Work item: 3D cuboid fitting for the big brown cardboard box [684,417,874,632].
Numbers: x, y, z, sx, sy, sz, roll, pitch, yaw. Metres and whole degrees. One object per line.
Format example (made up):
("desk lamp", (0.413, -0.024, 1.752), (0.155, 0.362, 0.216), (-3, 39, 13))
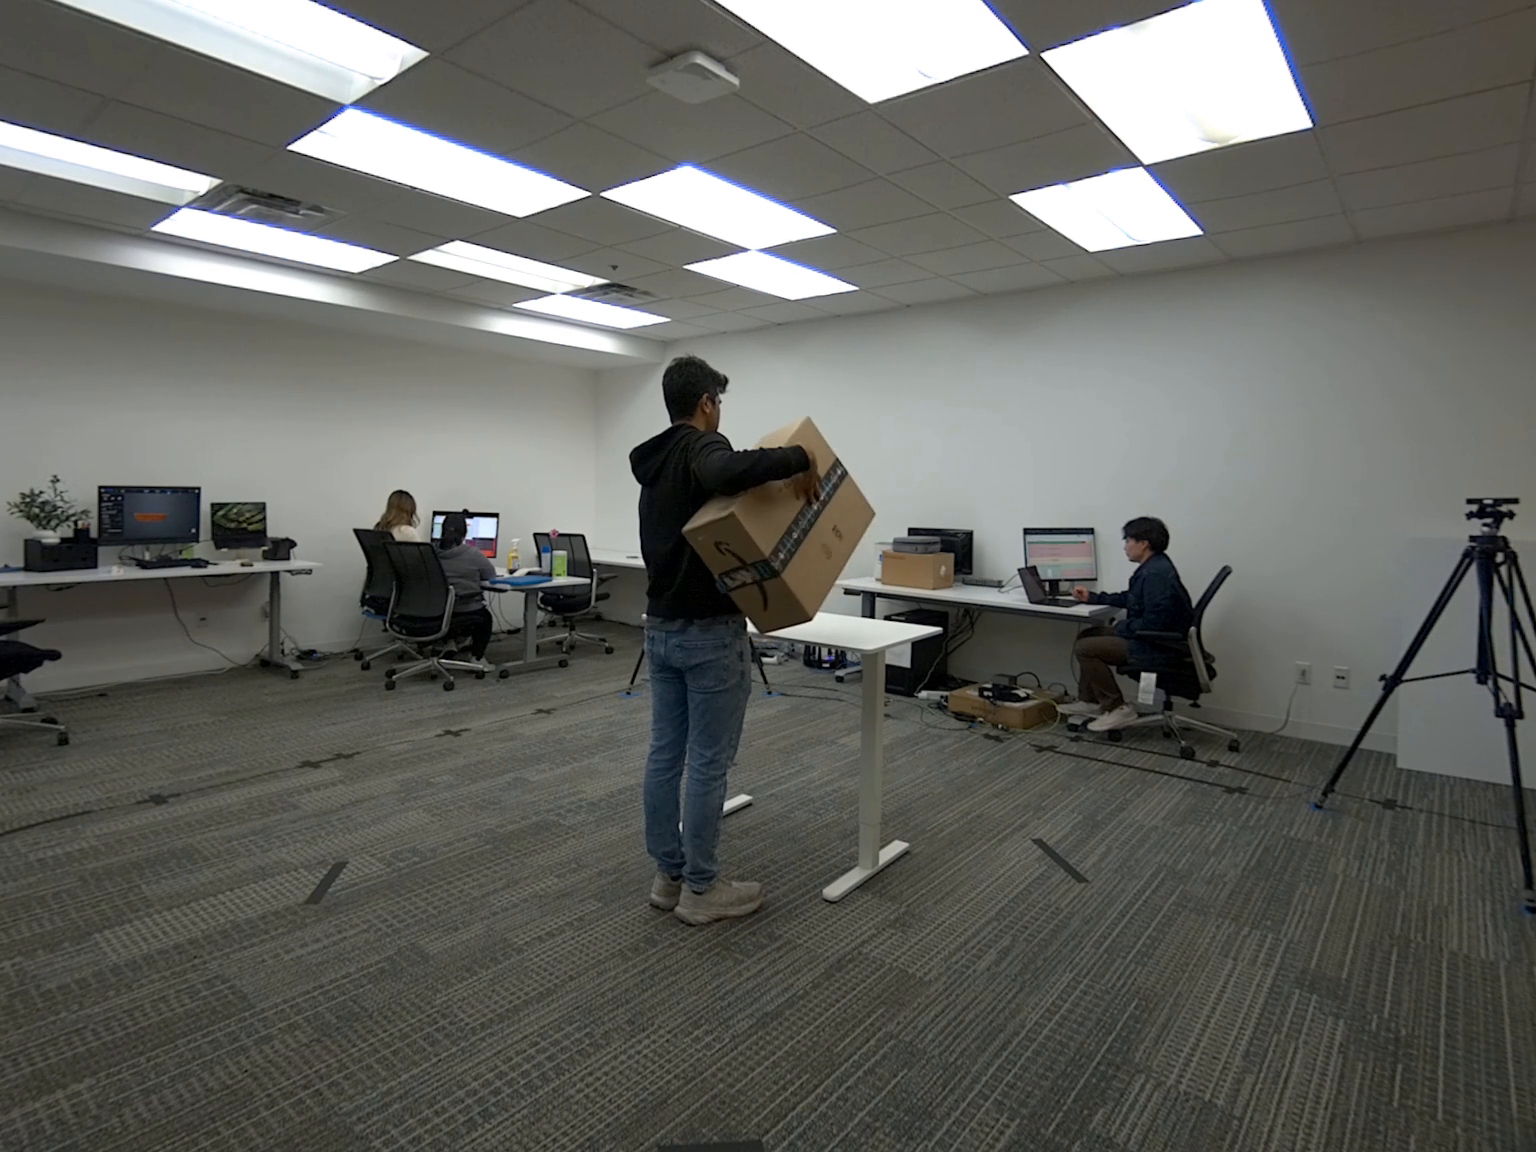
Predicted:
("big brown cardboard box", (0.044, -0.166, 2.680), (0.238, 0.408, 0.591), (-21, 24, 43))
